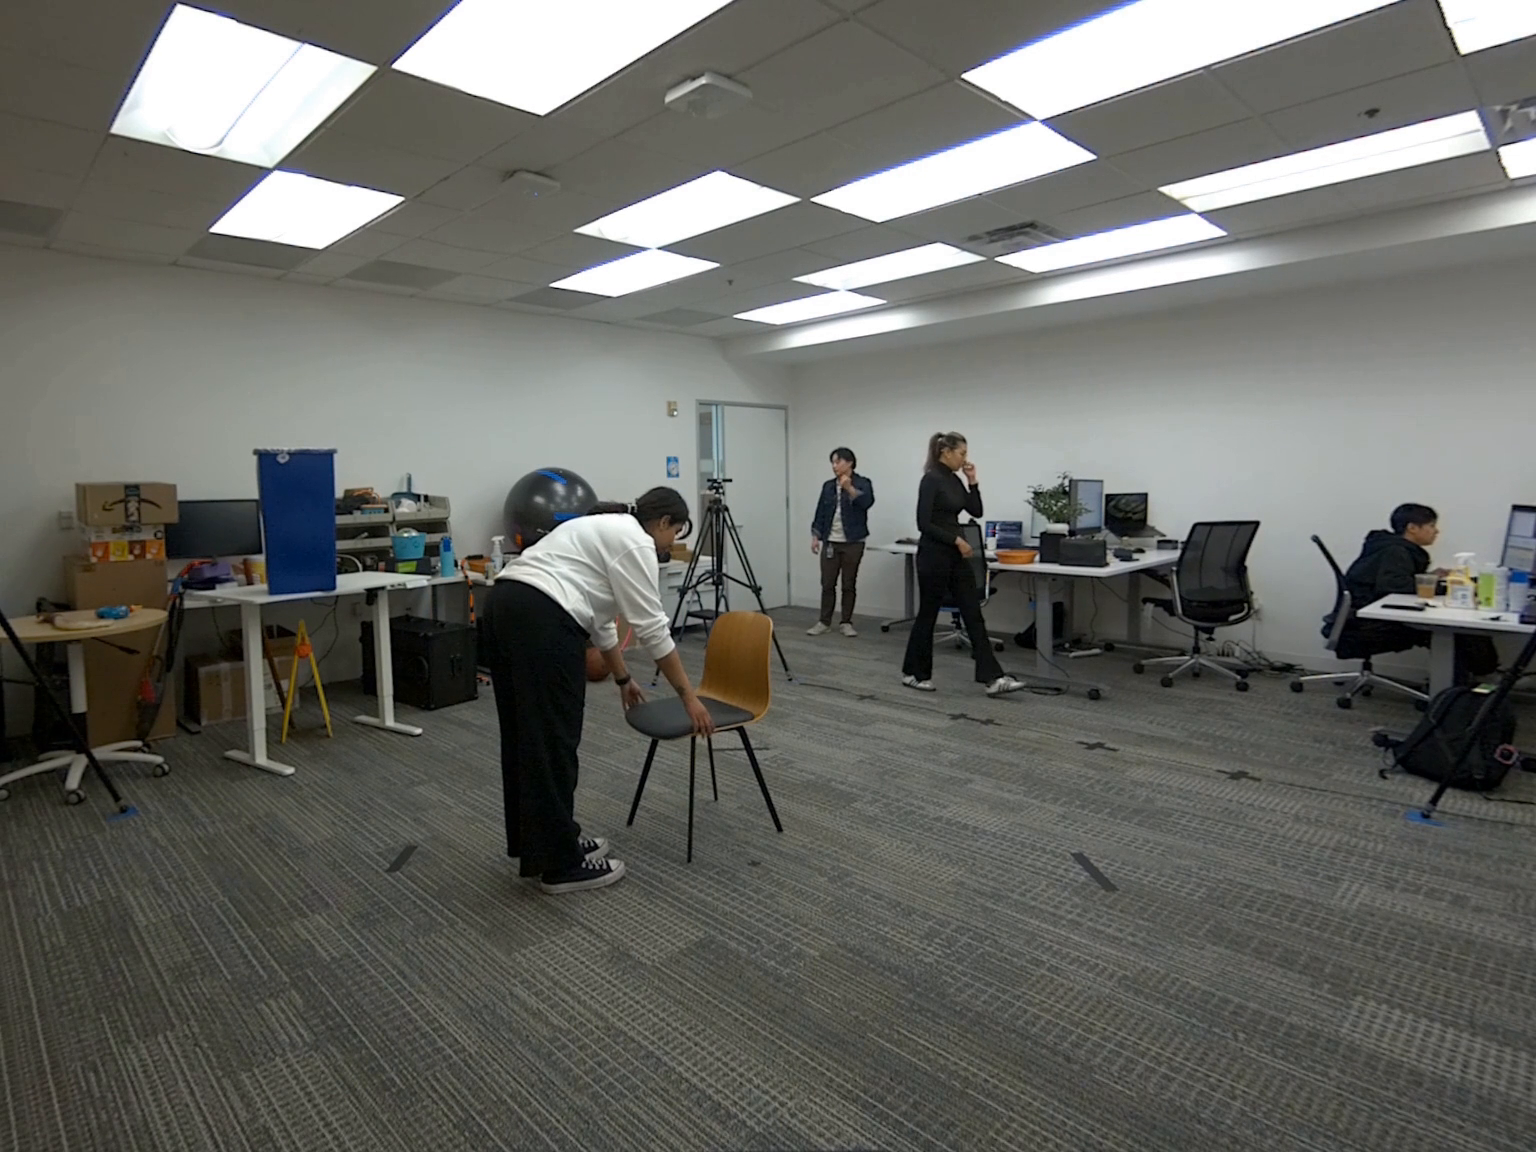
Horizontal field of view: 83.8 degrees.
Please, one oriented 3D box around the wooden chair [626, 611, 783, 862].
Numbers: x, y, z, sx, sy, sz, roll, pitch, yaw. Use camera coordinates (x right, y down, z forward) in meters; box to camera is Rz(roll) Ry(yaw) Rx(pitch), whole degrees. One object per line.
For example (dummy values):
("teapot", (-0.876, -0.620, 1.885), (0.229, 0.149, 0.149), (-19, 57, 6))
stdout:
("wooden chair", (-0.266, 0.586, 3.393), (0.508, 0.877, 0.492), (2, 1, -38))
